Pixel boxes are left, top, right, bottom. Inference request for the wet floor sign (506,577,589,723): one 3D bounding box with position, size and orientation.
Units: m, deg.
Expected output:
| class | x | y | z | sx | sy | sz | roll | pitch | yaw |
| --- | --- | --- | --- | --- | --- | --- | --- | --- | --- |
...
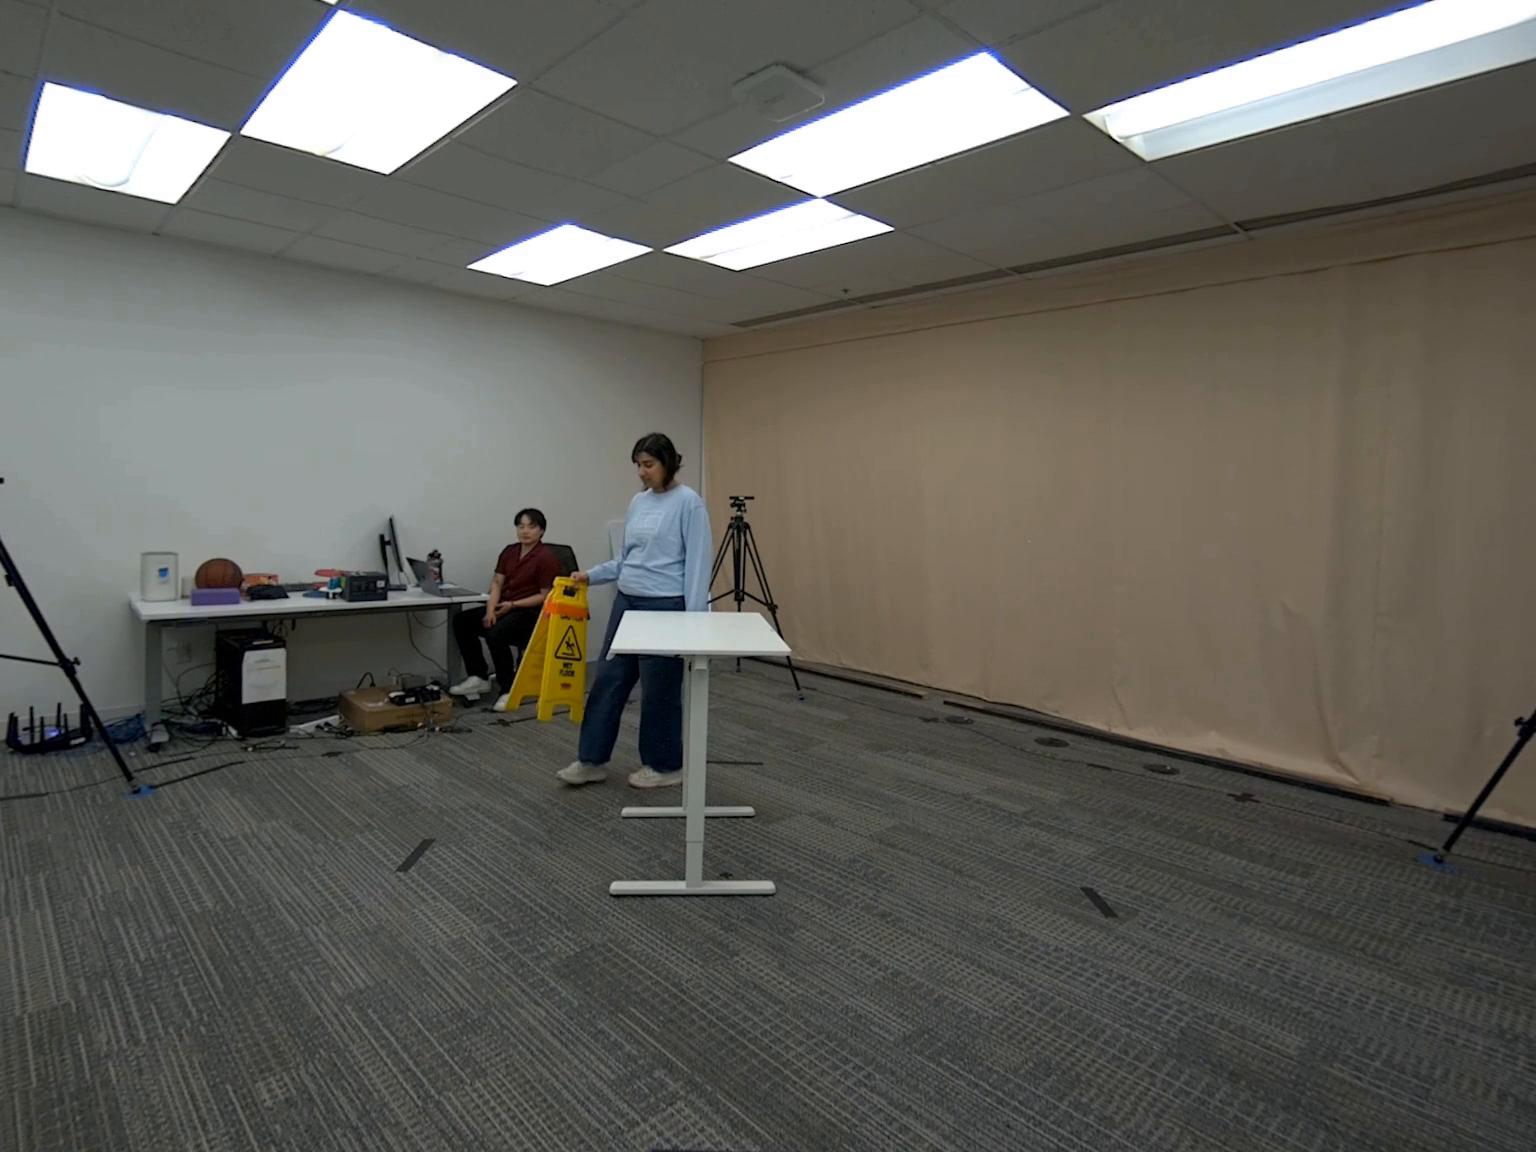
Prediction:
| class | x | y | z | sx | sy | sz | roll | pitch | yaw |
| --- | --- | --- | --- | --- | --- | --- | --- | --- | --- |
| wet floor sign | -1.000 | 0.341 | 3.972 | 0.297 | 0.648 | 0.274 | 7 | -7 | 33 |
